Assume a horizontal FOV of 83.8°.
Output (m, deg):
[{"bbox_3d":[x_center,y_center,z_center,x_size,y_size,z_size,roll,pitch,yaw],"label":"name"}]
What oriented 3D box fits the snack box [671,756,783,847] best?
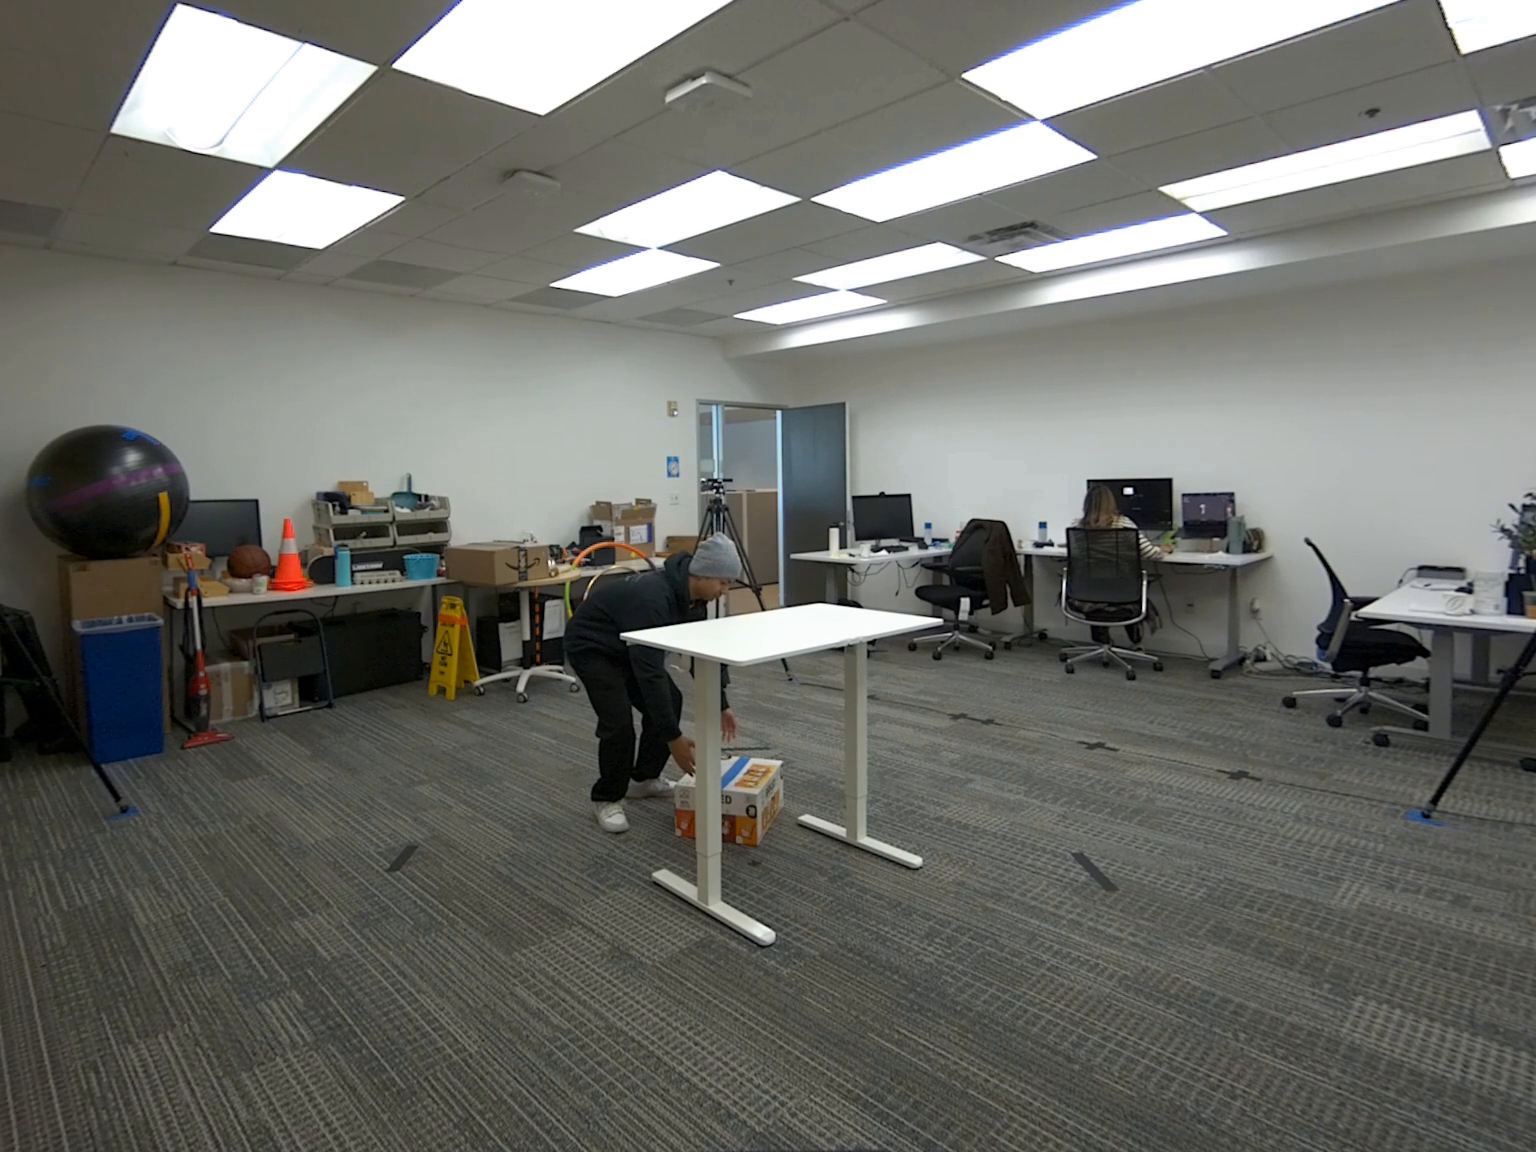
[{"bbox_3d":[-0.149,0.904,3.488,0.346,0.205,0.400,1,6,17],"label":"snack box"}]
